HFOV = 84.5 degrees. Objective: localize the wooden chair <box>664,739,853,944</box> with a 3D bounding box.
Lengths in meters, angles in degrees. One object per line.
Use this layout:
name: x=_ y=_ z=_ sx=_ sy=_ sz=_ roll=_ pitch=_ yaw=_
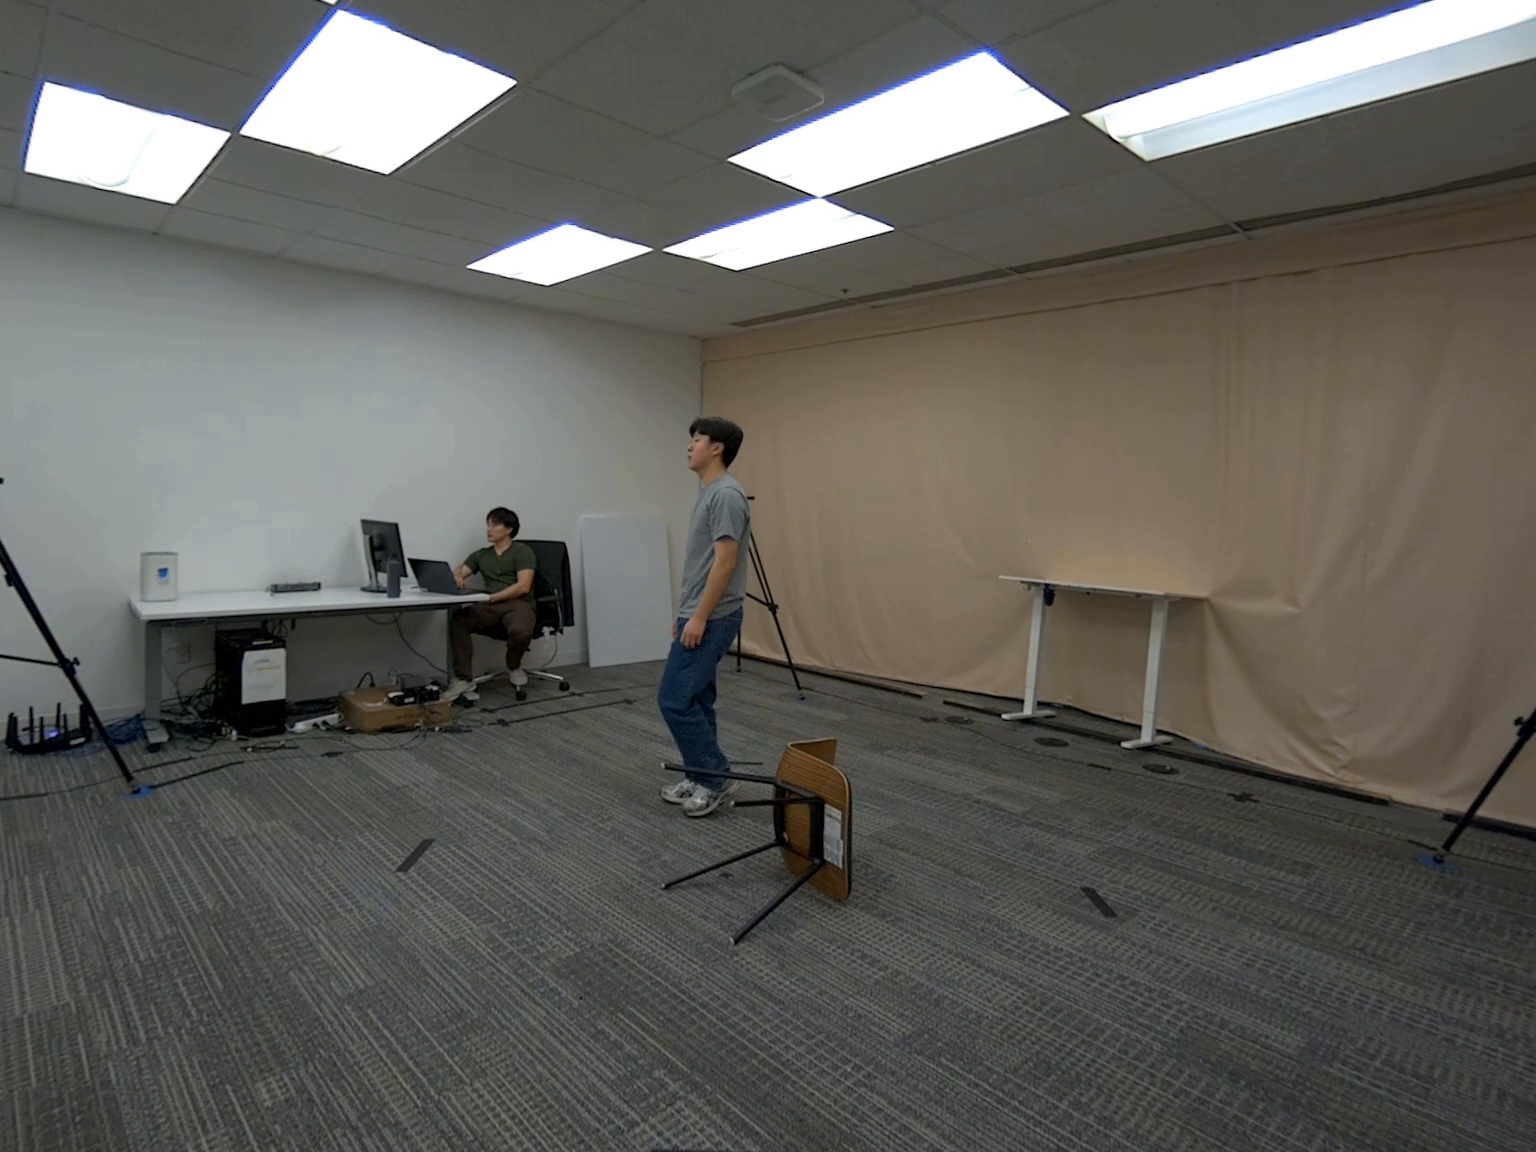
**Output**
wooden chair: x=0.101 y=0.887 z=3.017 sx=0.858 sy=0.477 sz=0.536 roll=-3 pitch=6 yaw=-39
